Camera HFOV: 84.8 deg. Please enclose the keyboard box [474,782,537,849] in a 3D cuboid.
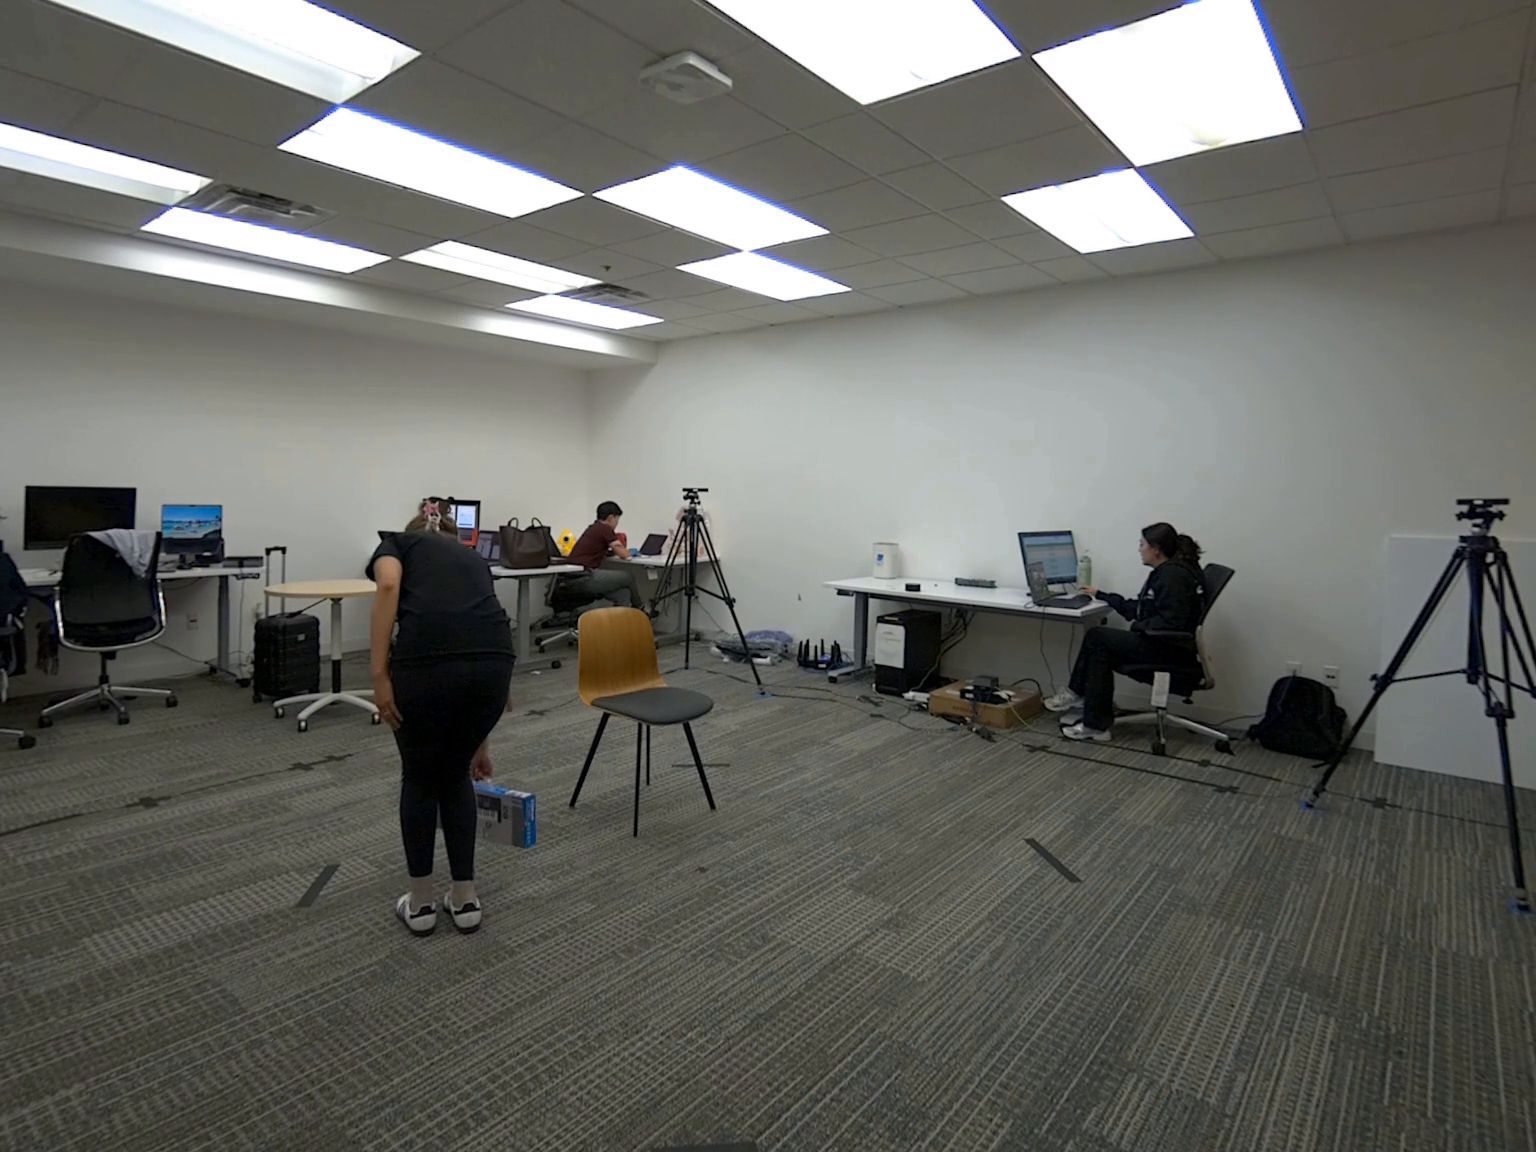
[{"bbox_3d":[-1.017,0.827,2.994,0.448,0.176,0.058,1,2,27],"label":"keyboard box"}]
